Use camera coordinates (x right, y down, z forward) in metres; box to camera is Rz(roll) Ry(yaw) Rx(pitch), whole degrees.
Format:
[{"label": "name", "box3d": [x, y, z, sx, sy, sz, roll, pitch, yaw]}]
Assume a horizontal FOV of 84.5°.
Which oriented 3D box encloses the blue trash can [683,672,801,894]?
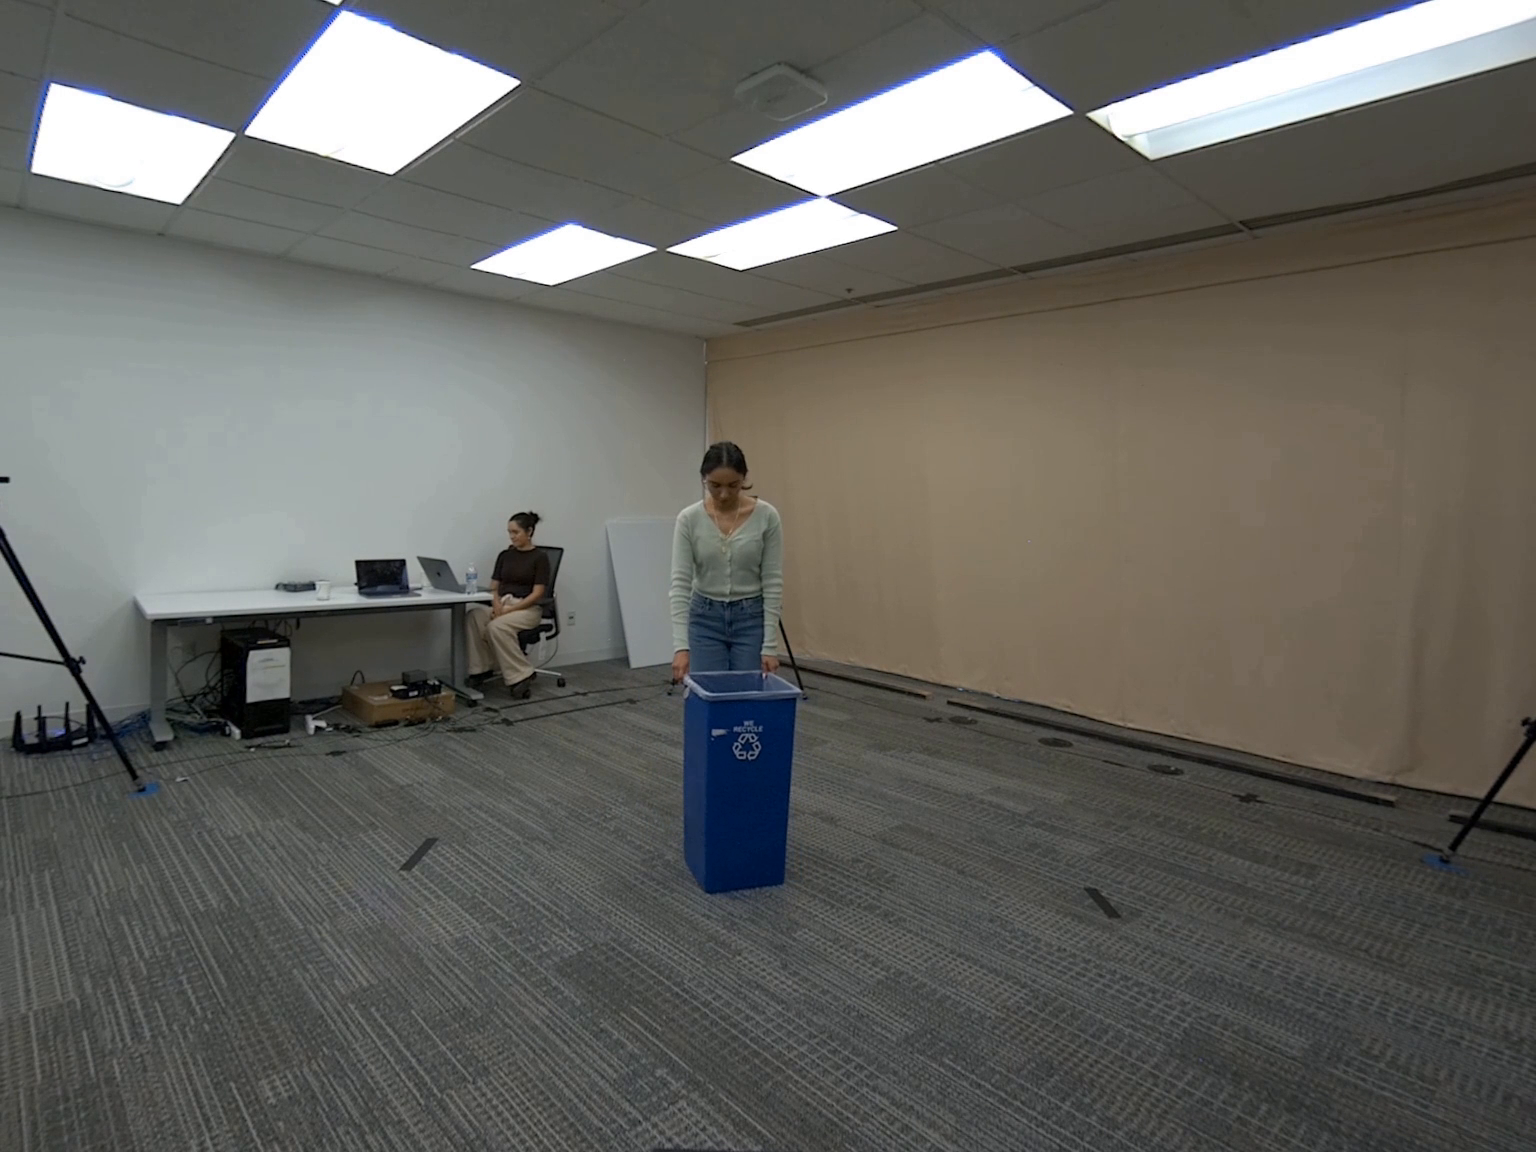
[{"label": "blue trash can", "box3d": [-0.121, 0.743, 3.114, 0.368, 0.712, 0.385, 0, 4, -20]}]
